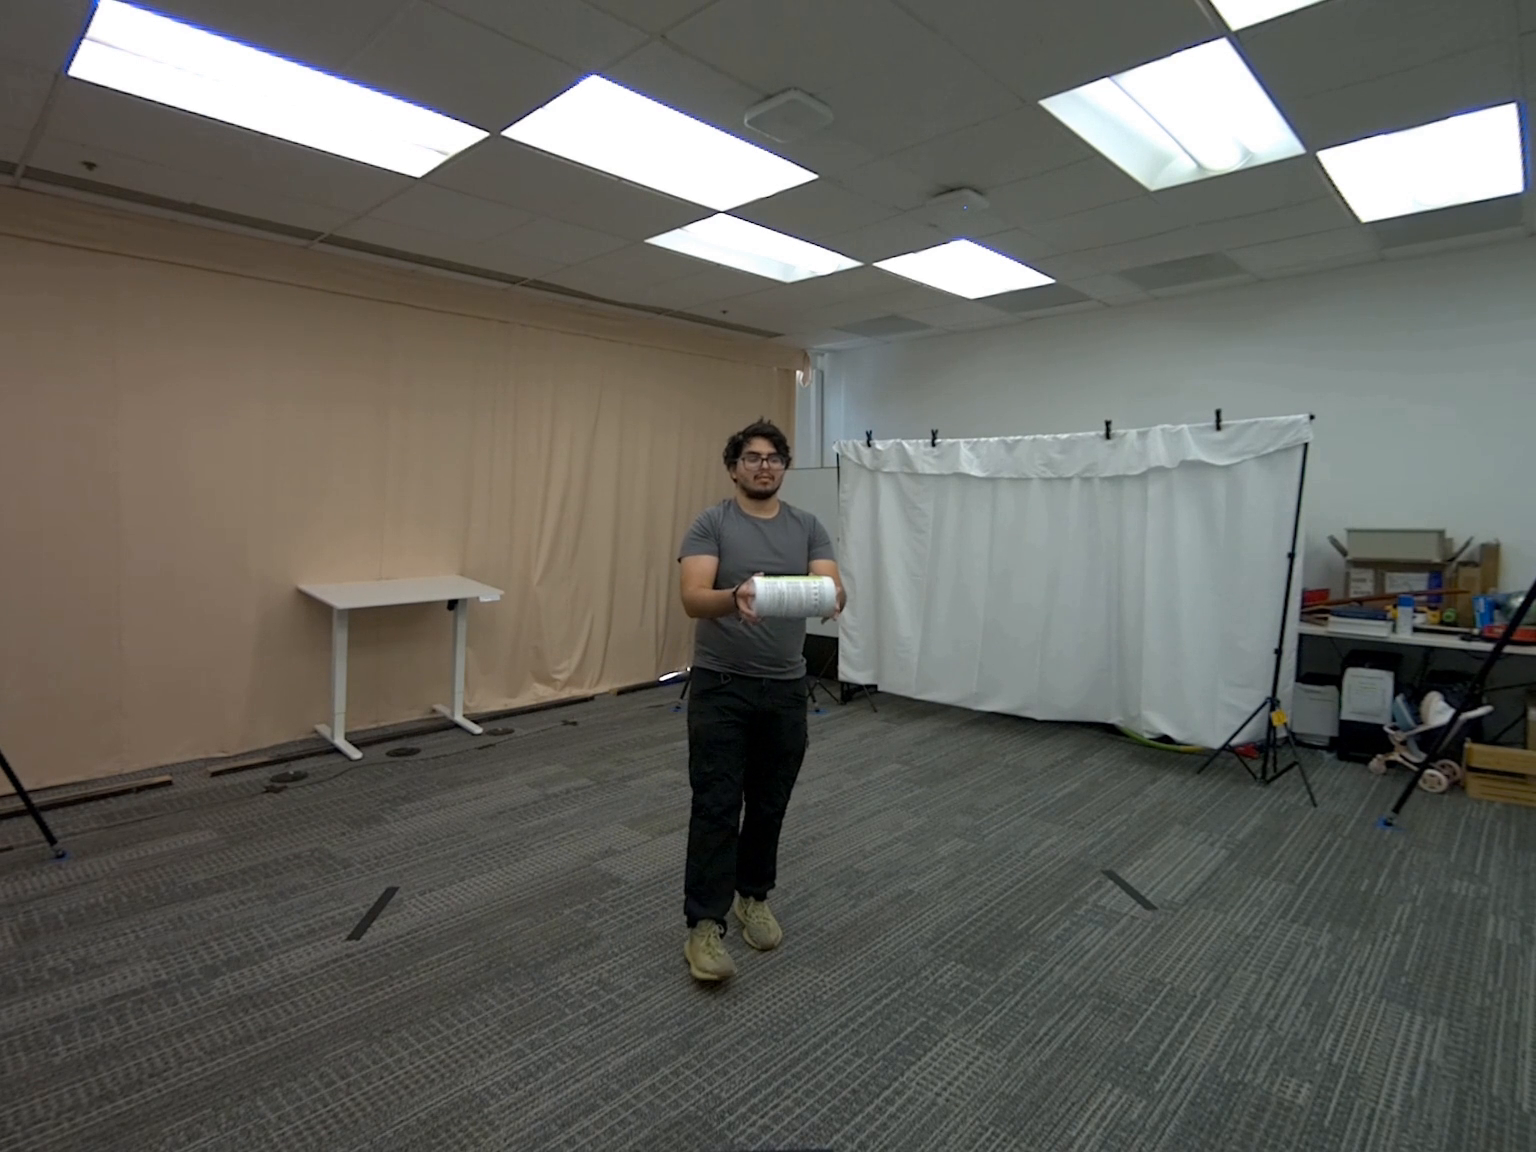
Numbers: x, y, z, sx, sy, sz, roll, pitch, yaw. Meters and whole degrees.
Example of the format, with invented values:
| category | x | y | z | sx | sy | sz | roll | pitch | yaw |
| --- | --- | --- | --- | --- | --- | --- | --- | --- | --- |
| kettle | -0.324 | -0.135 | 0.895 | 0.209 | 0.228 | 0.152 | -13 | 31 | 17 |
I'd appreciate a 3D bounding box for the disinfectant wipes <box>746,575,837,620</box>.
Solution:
| category | x | y | z | sx | sy | sz | roll | pitch | yaw |
| --- | --- | --- | --- | --- | --- | --- | --- | --- | --- |
| disinfectant wipes | 0.066 | 0.054 | 2.213 | 0.216 | 0.117 | 0.119 | 0 | 4 | -6 |
